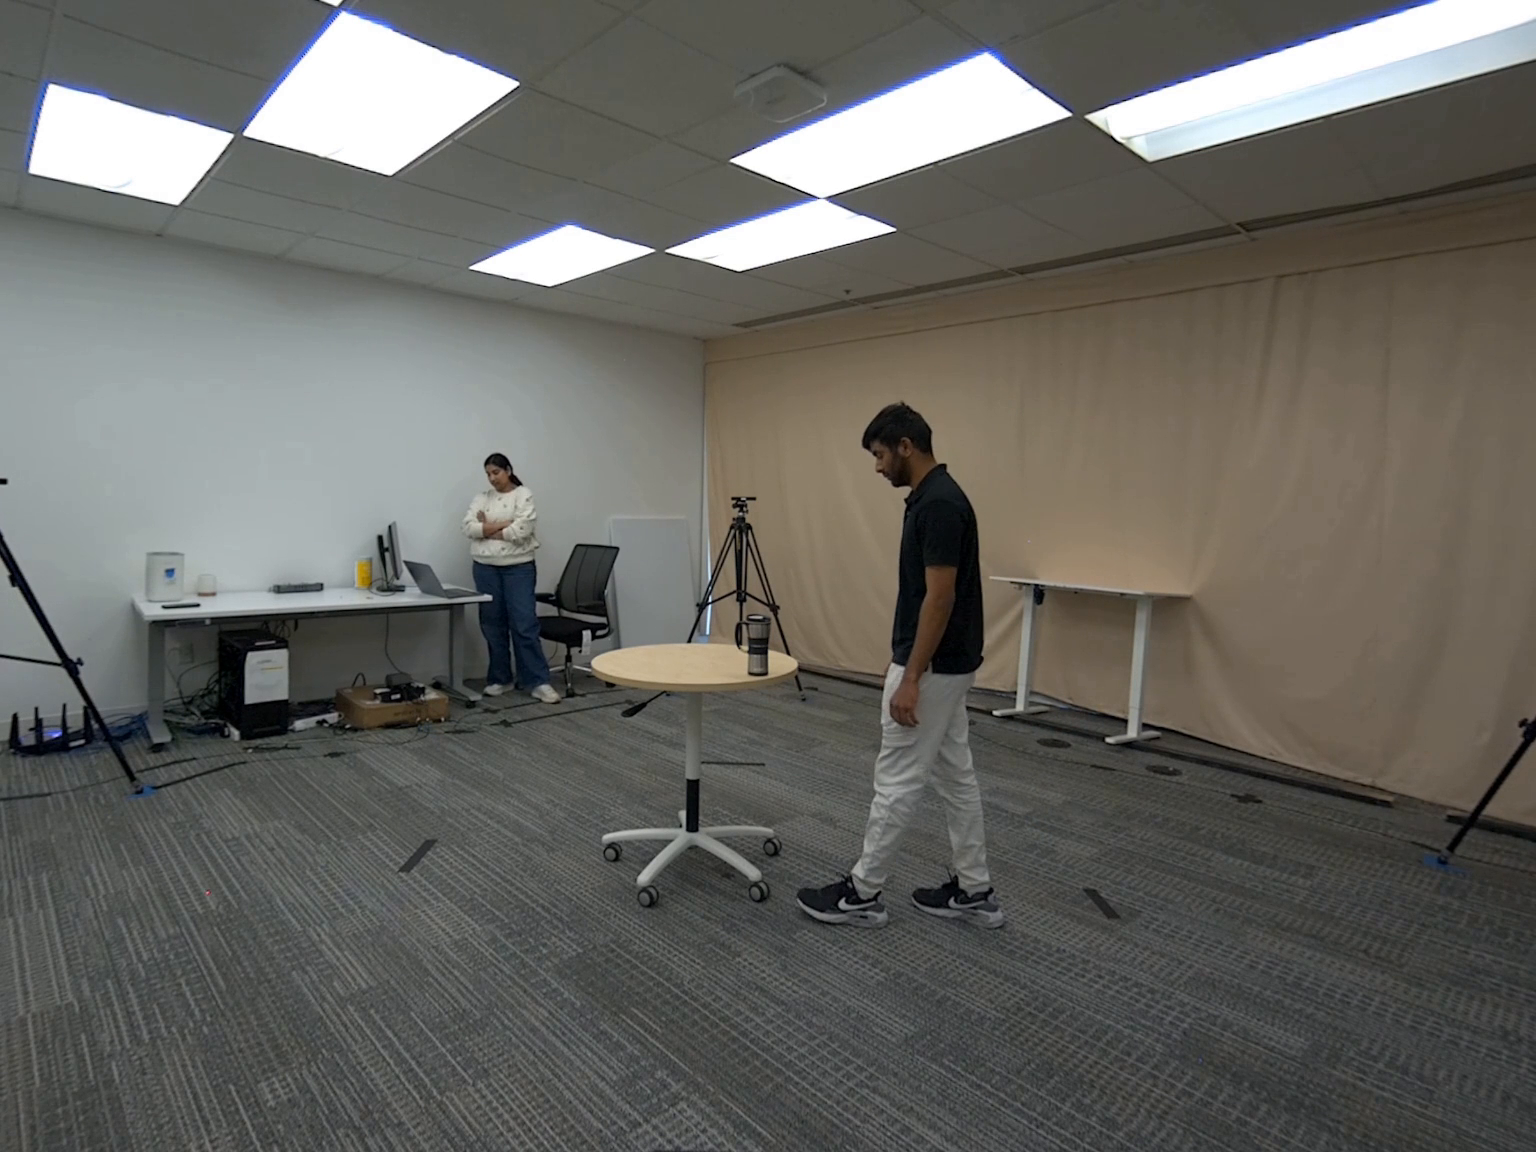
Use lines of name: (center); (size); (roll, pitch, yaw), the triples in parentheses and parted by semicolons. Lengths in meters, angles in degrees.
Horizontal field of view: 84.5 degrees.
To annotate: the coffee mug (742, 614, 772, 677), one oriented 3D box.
coffee mug: (-0.052, 0.244, 2.911); (0.124, 0.202, 0.087); (5, 8, 18)
